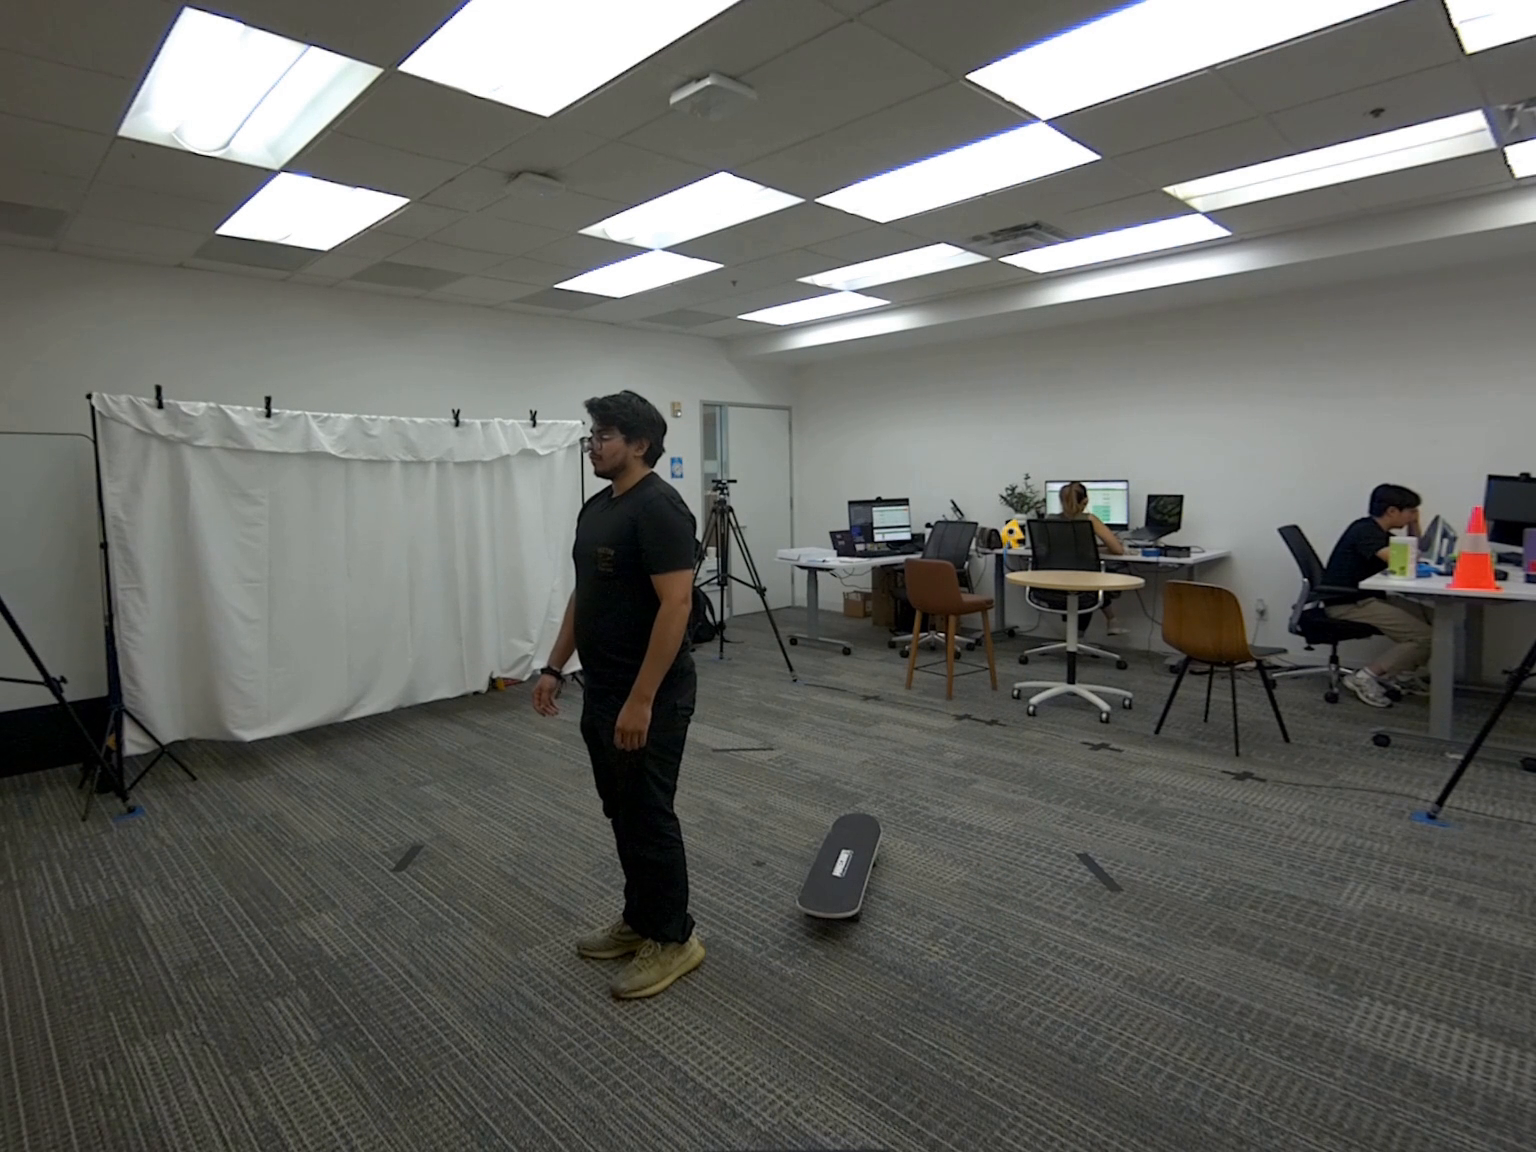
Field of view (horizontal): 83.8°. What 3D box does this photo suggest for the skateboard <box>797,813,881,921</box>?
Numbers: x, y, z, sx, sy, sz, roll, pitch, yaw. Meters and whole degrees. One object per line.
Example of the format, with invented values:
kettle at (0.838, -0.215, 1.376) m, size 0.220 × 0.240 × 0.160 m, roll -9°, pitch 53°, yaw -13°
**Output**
skateboard at (0.258, 1.006, 2.910) m, size 0.196 × 0.110 × 0.778 m, roll 0°, pitch 7°, yaw 14°
